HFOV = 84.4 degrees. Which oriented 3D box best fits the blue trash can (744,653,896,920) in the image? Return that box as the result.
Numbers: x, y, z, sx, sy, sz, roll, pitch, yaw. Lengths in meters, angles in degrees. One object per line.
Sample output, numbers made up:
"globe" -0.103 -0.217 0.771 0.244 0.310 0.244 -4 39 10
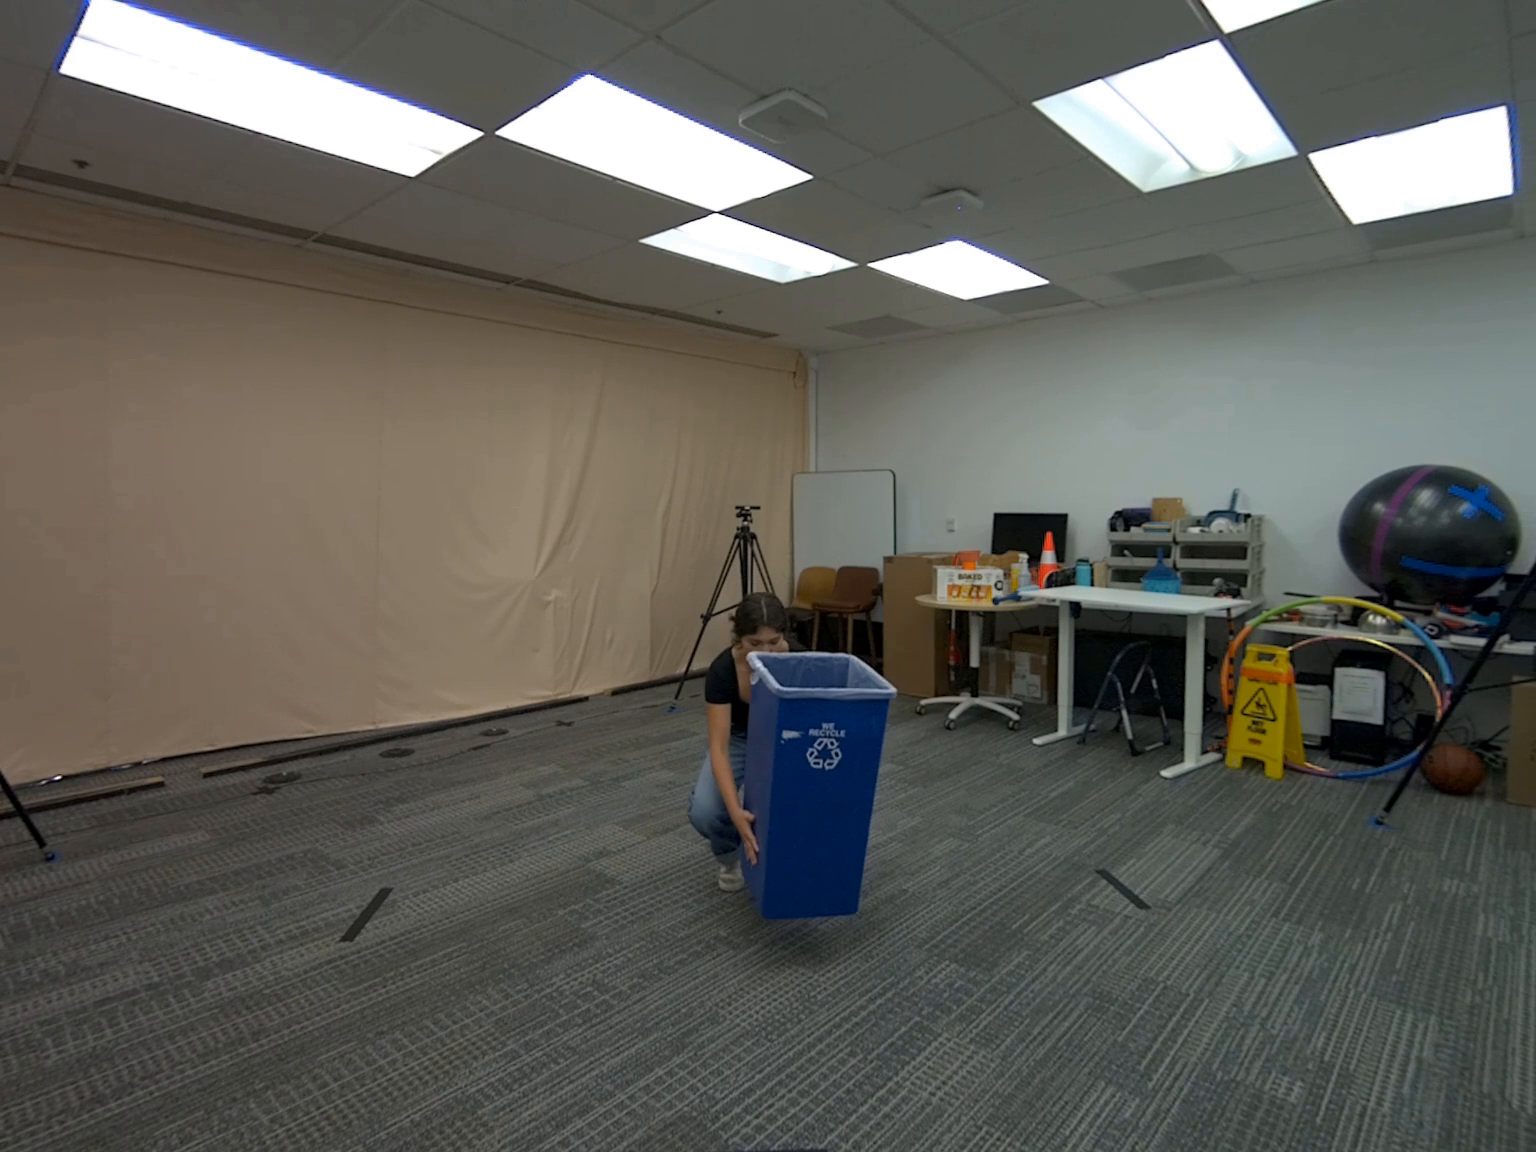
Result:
"blue trash can" 0.130 0.631 2.582 0.368 0.710 0.386 2 10 -14
